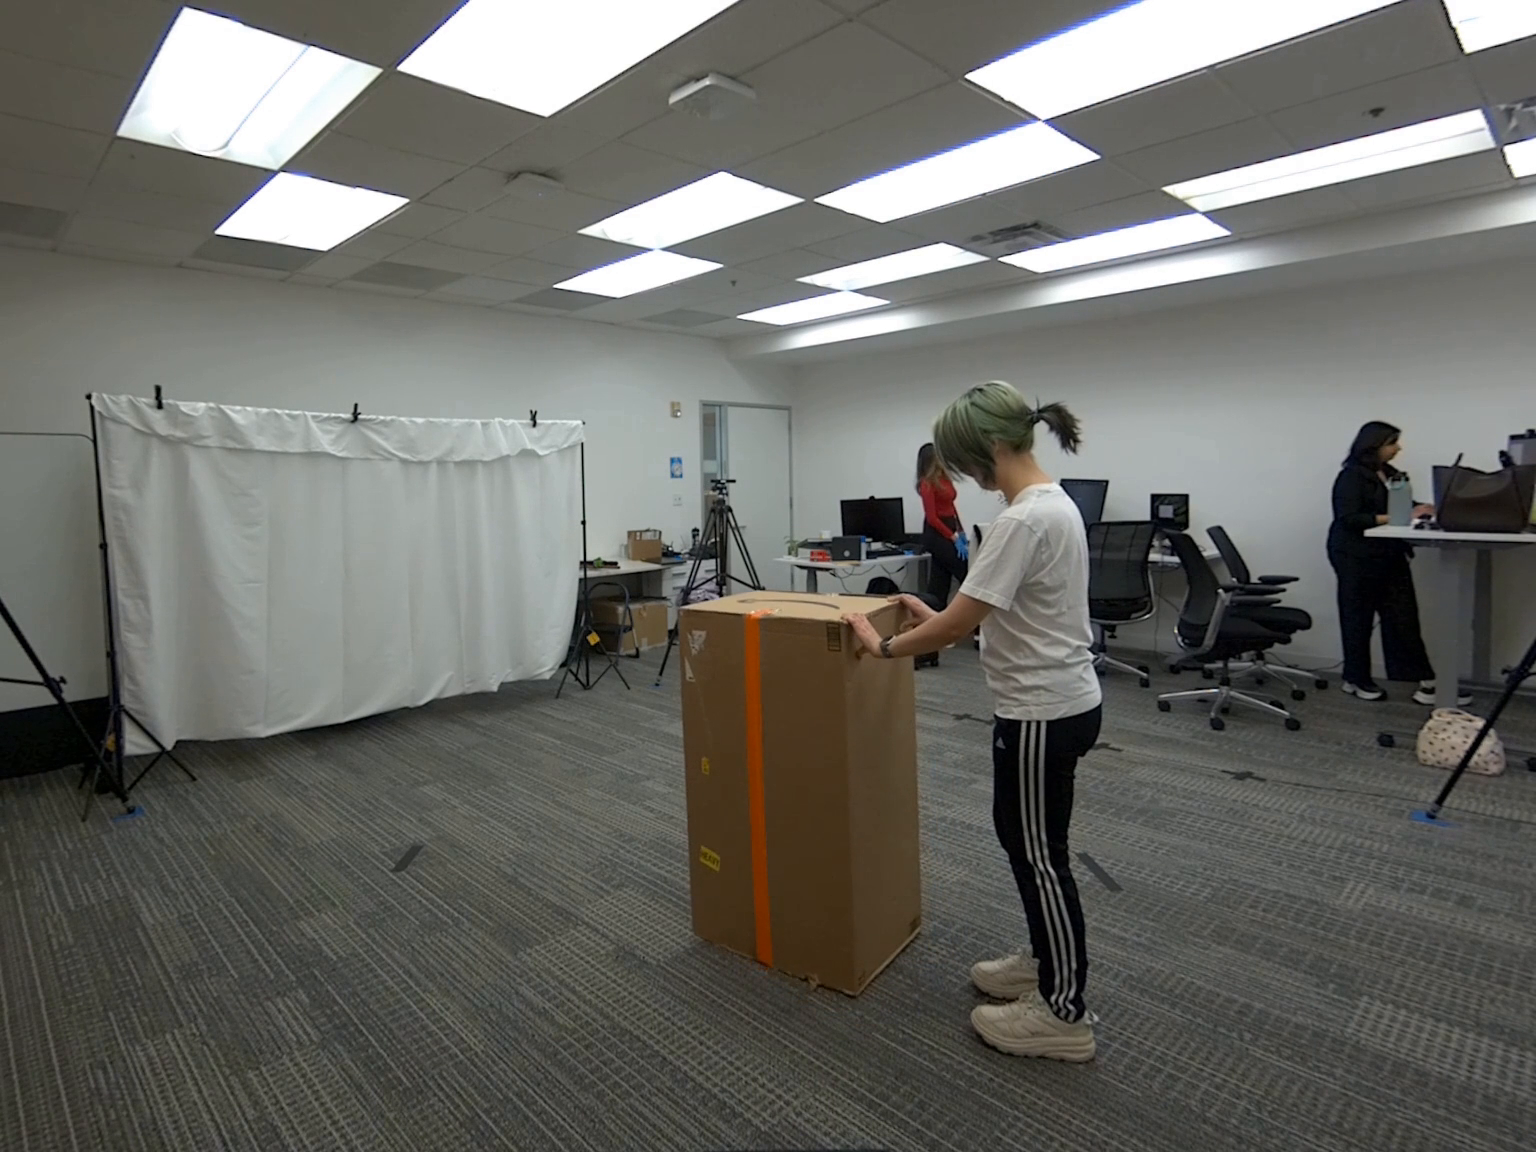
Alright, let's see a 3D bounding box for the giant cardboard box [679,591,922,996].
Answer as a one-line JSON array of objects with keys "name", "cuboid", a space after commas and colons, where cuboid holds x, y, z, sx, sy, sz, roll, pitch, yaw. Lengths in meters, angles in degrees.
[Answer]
[{"name": "giant cardboard box", "cuboid": [0.097, 0.594, 2.587, 0.601, 1.024, 0.436, 1, 5, 37]}]
